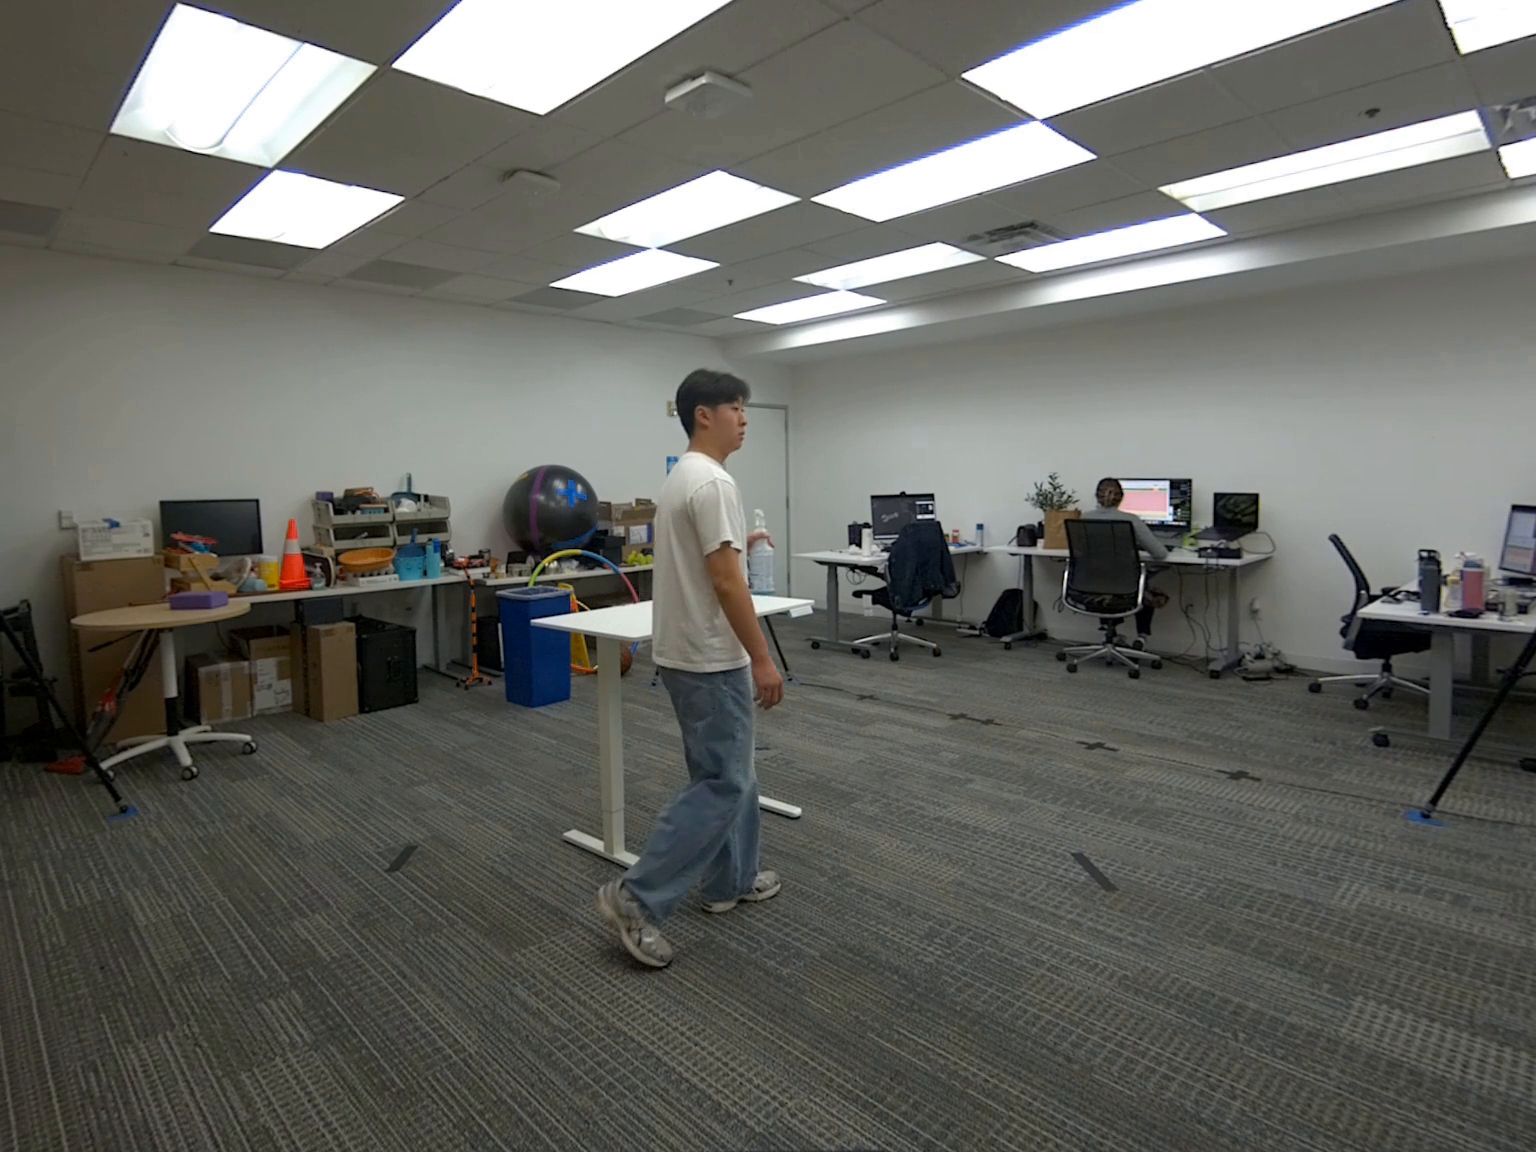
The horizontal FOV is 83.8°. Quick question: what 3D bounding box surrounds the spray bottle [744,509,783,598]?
[{"bbox_3d":[-0.018,-0.081,2.970,0.089,0.296,0.088,1,4,36],"label":"spray bottle"}]
